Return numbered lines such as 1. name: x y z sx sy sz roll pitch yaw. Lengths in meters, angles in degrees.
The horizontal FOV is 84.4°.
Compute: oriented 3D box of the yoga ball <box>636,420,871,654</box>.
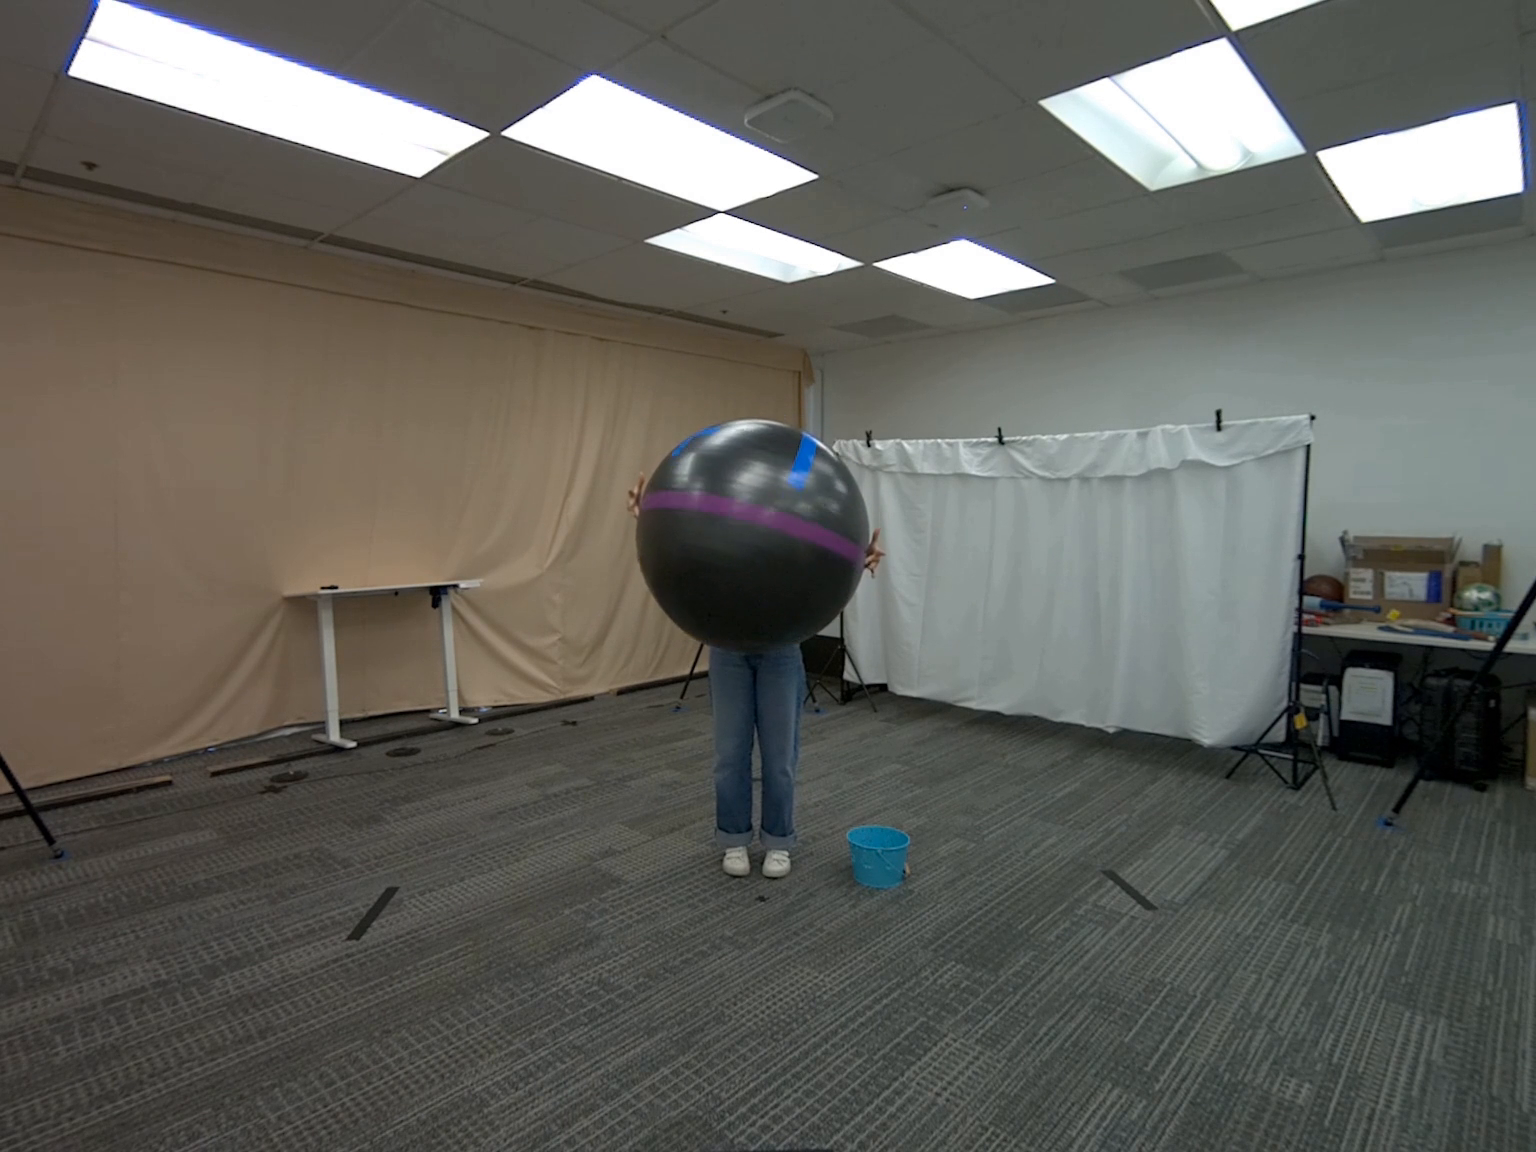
1. yoga ball: -0.057 -0.125 2.747 0.757 0.756 0.760 0 4 -2
